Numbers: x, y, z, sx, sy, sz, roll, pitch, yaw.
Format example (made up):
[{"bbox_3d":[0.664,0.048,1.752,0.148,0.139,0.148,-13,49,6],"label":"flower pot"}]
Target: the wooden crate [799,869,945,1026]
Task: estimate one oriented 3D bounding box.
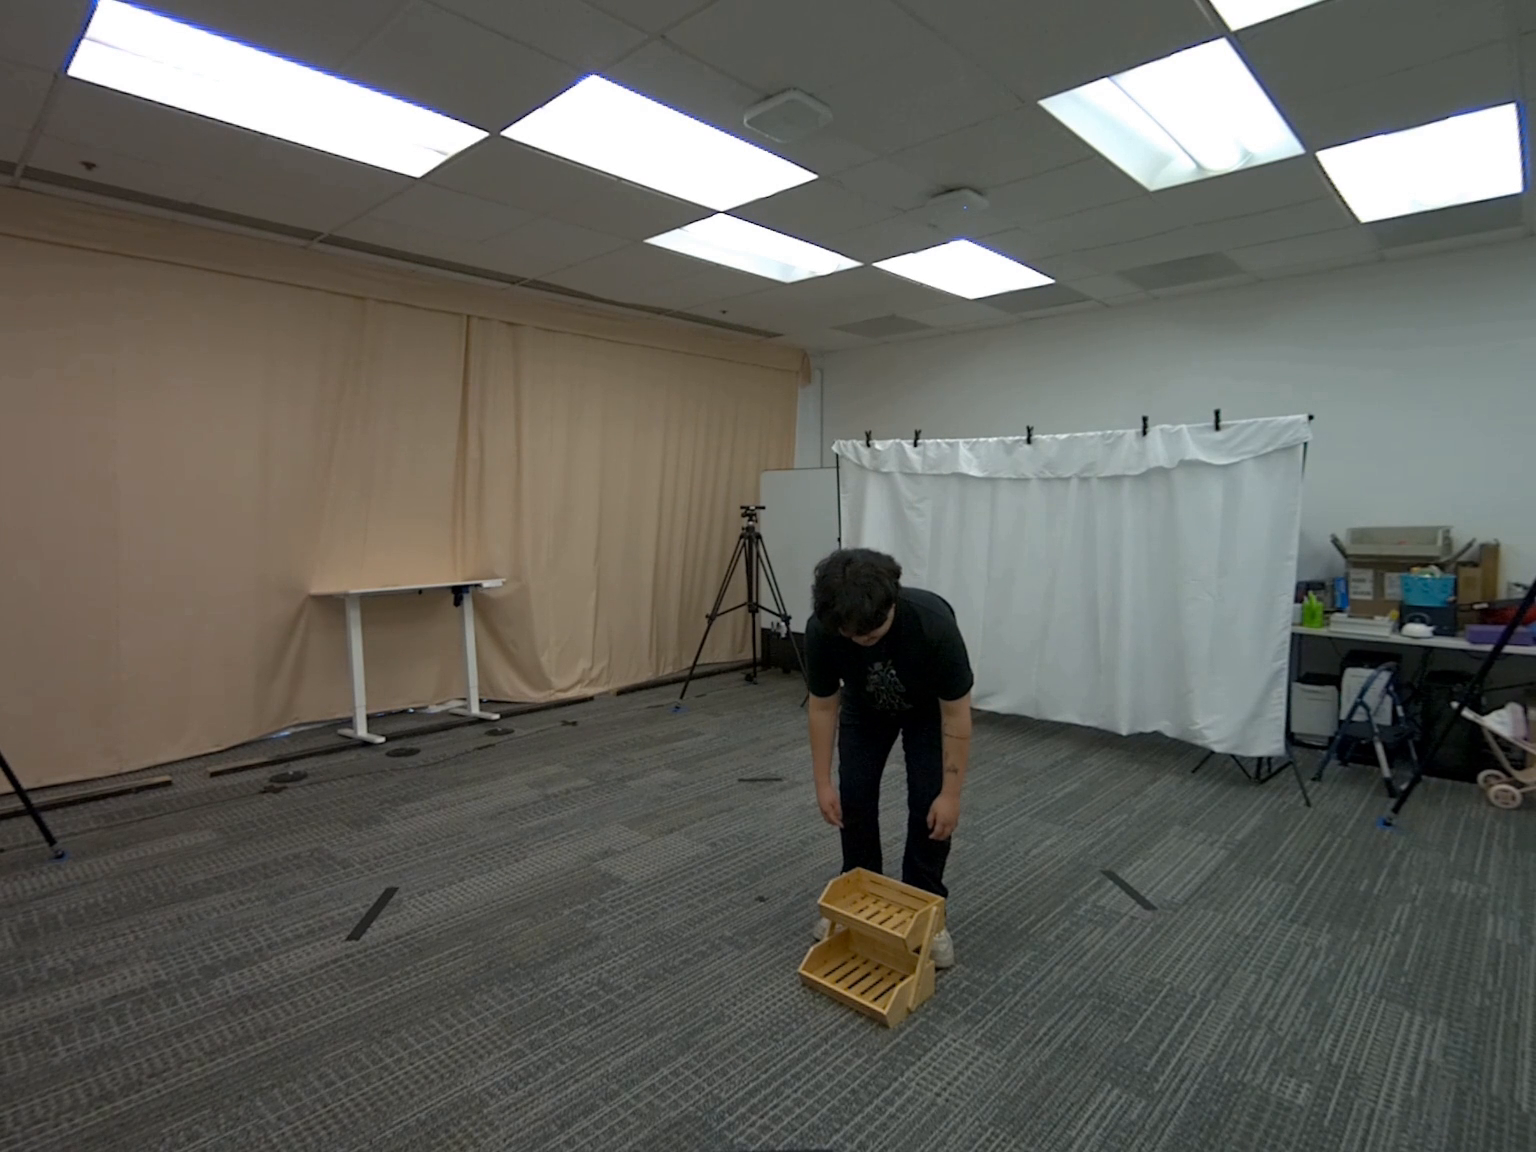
[{"bbox_3d":[0.303,1.058,2.430,0.335,0.273,0.293,4,5,42],"label":"wooden crate"}]
